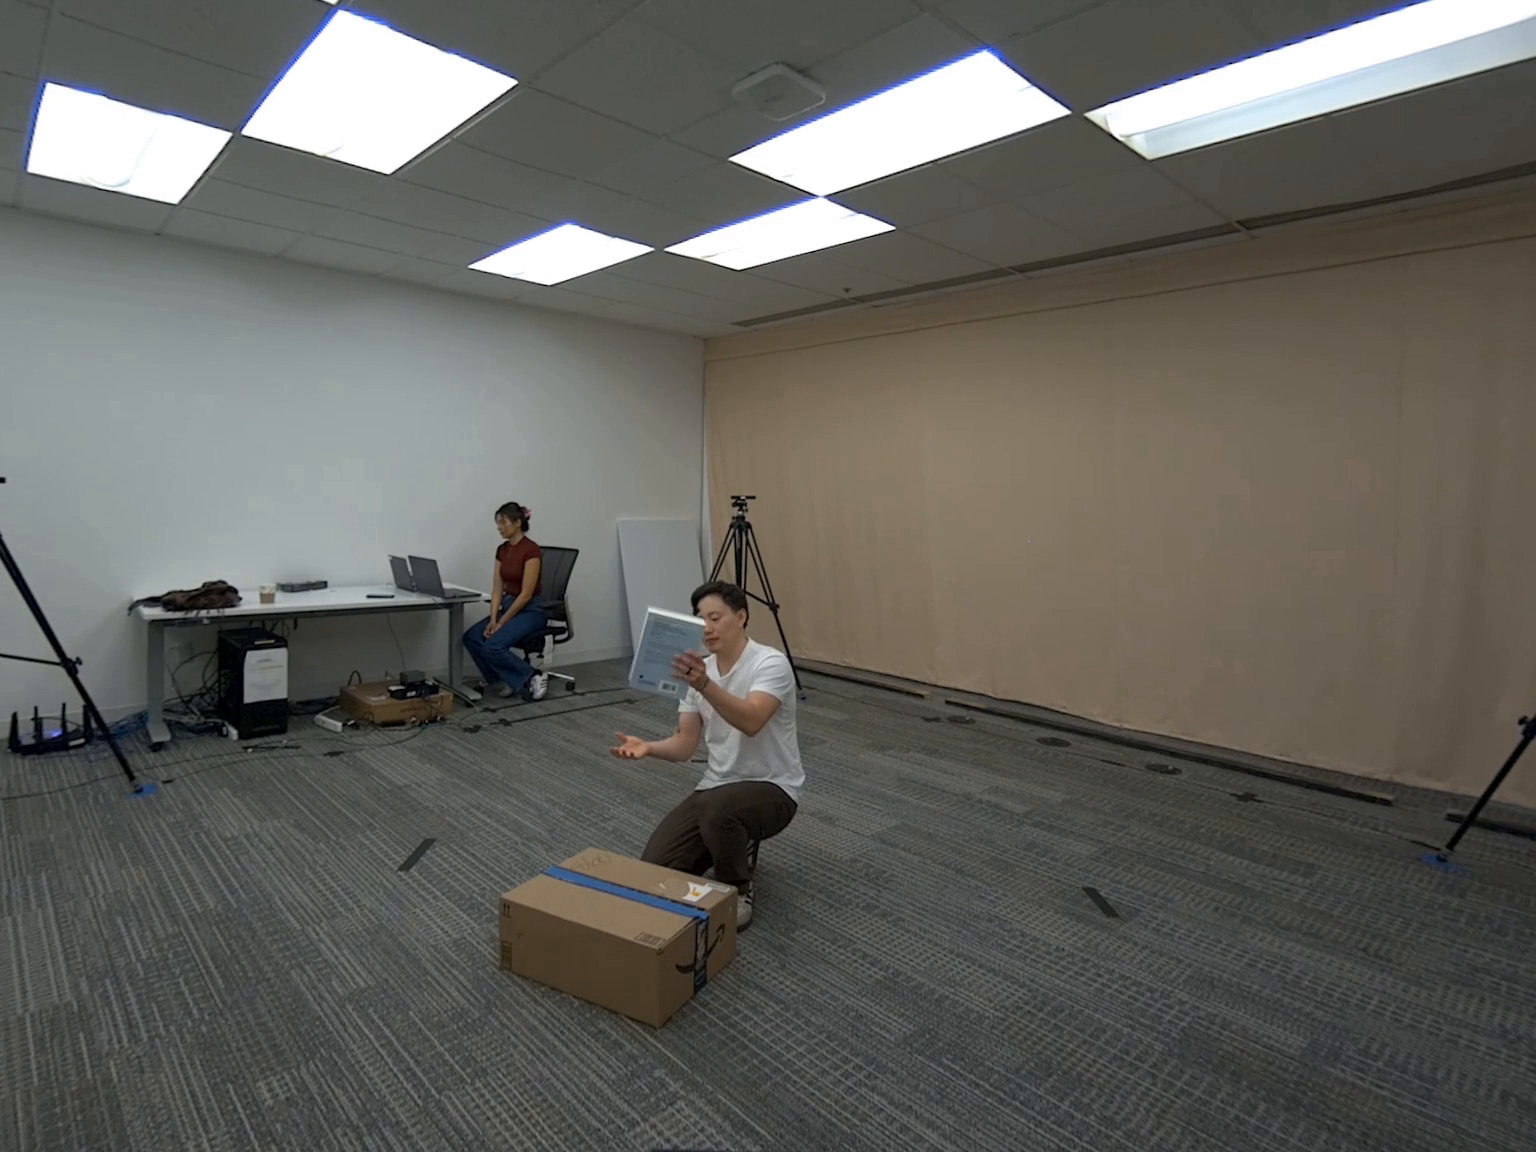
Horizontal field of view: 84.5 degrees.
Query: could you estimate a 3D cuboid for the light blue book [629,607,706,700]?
[{"bbox_3d":[-0.334,0.245,2.658,0.190,0.259,0.060,14,12,-6],"label":"light blue book"}]
